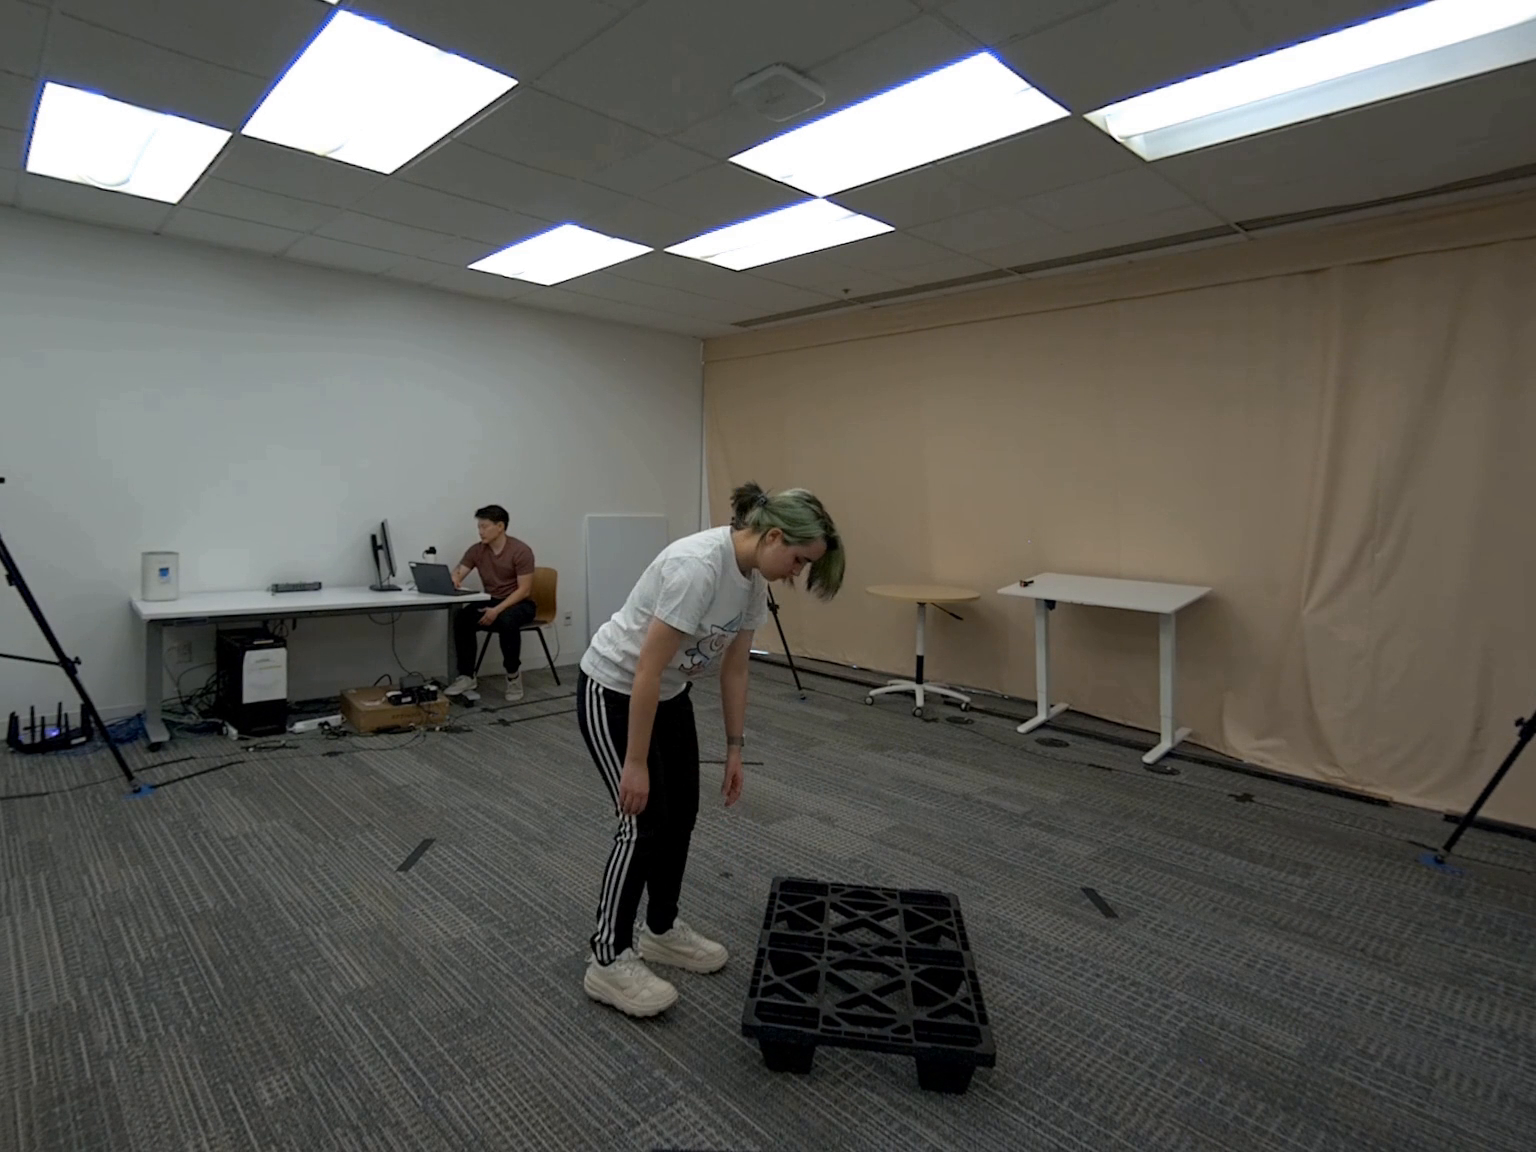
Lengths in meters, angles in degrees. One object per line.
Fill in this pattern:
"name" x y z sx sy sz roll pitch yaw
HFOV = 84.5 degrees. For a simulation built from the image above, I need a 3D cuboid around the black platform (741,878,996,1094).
"black platform" 0.265 1.114 2.374 0.609 0.143 0.803 3 6 7
